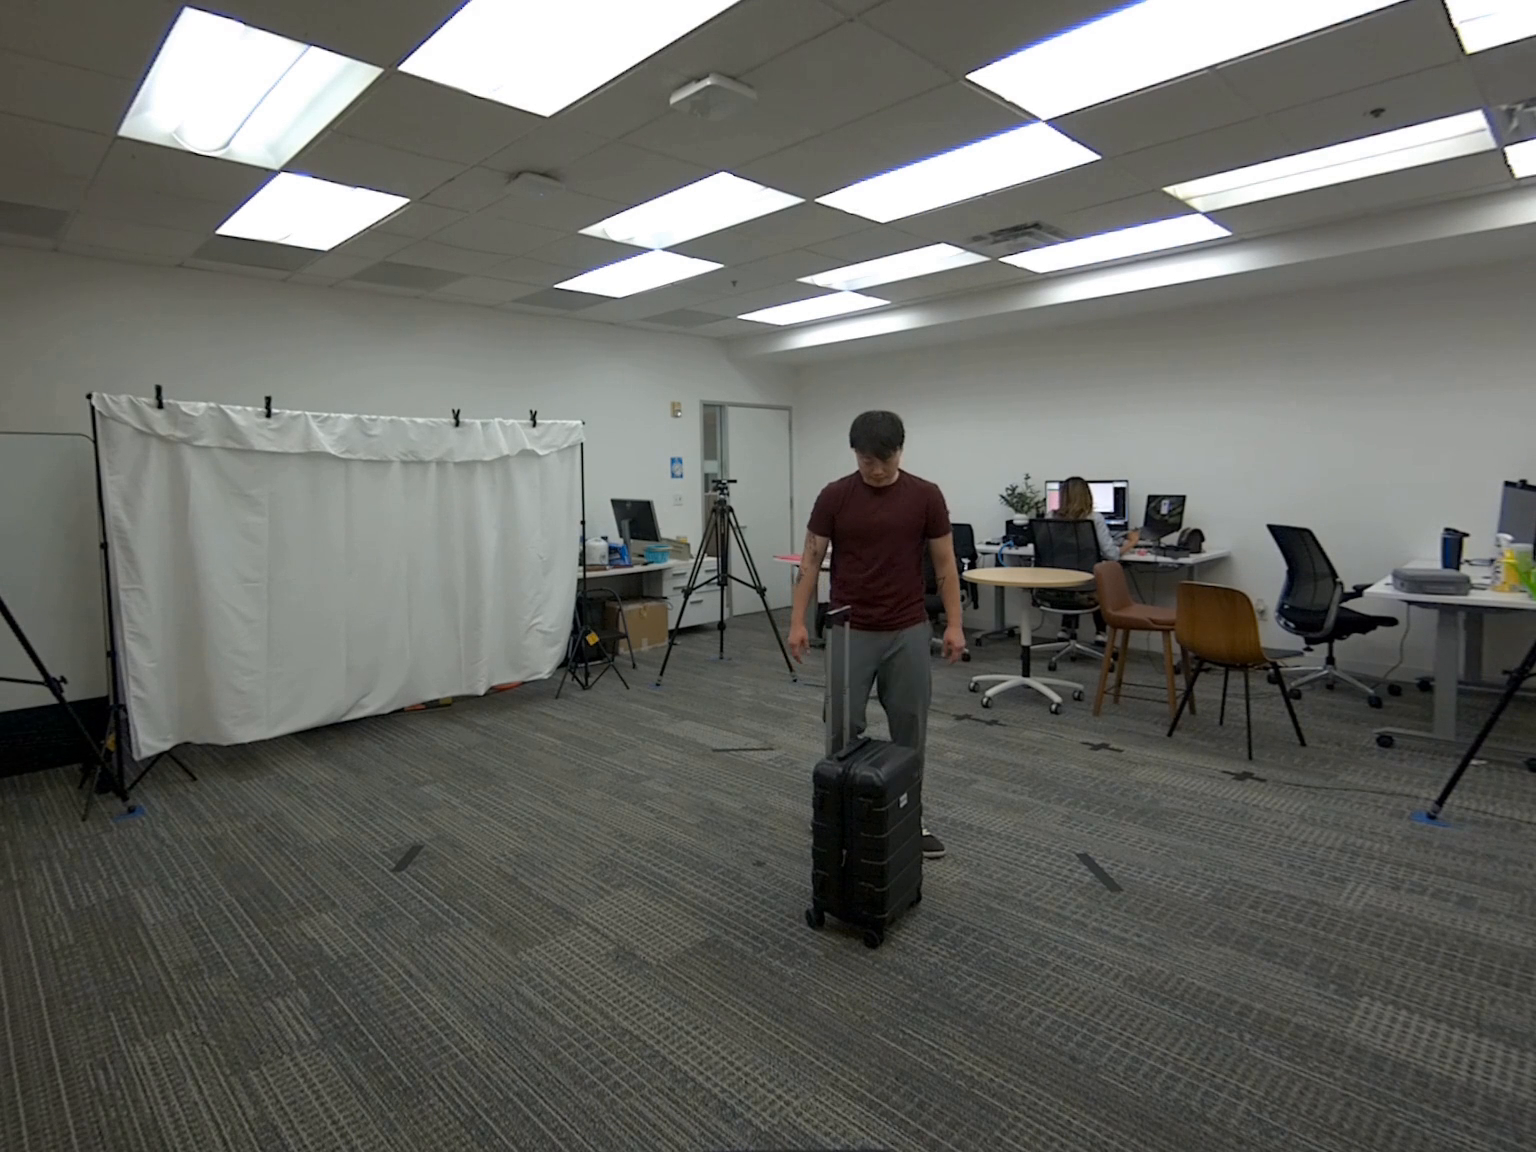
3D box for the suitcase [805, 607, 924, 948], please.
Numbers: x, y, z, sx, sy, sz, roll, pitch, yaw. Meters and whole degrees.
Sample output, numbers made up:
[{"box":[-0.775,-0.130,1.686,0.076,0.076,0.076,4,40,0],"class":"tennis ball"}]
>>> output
[{"box":[0.327,0.614,2.687,0.264,0.974,0.375,5,6,32],"class":"suitcase"}]
